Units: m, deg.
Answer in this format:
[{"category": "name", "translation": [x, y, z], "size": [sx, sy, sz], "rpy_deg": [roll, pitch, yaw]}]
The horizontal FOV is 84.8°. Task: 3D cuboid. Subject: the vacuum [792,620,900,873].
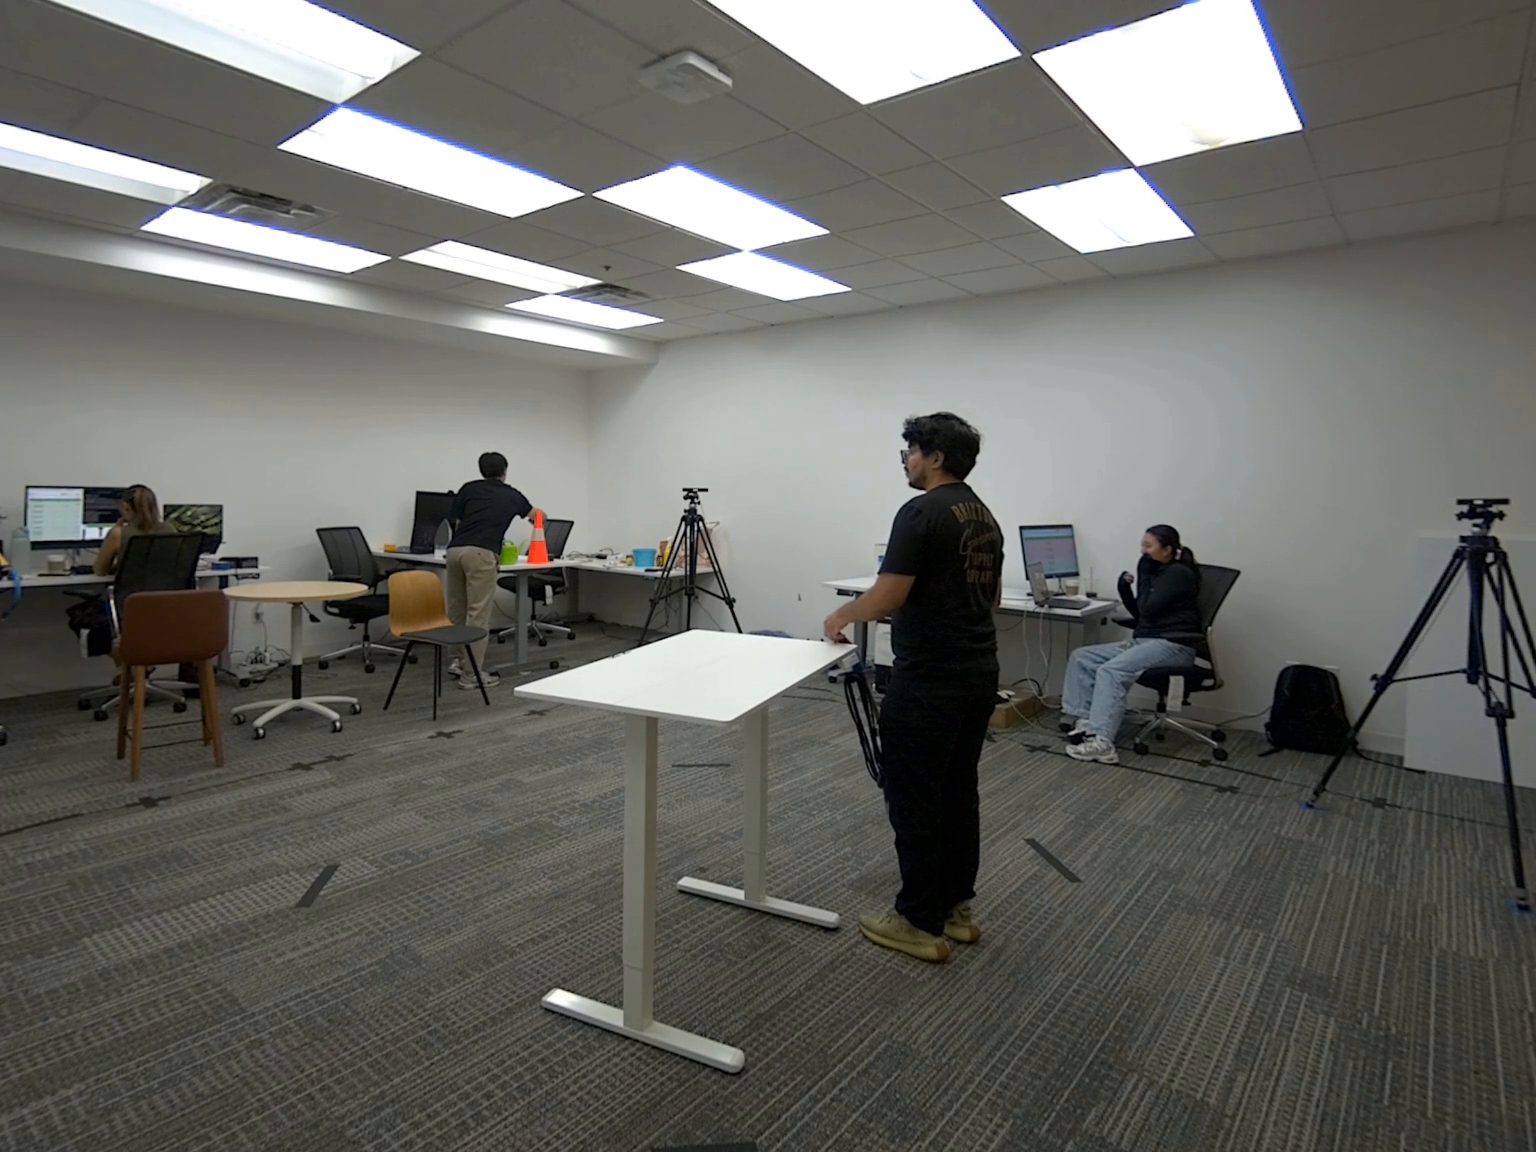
[{"category": "vacuum", "translation": [0.405, 0.634, 2.972], "size": [0.260, 1.023, 0.143], "rpy_deg": [-1, 30, 45]}]
